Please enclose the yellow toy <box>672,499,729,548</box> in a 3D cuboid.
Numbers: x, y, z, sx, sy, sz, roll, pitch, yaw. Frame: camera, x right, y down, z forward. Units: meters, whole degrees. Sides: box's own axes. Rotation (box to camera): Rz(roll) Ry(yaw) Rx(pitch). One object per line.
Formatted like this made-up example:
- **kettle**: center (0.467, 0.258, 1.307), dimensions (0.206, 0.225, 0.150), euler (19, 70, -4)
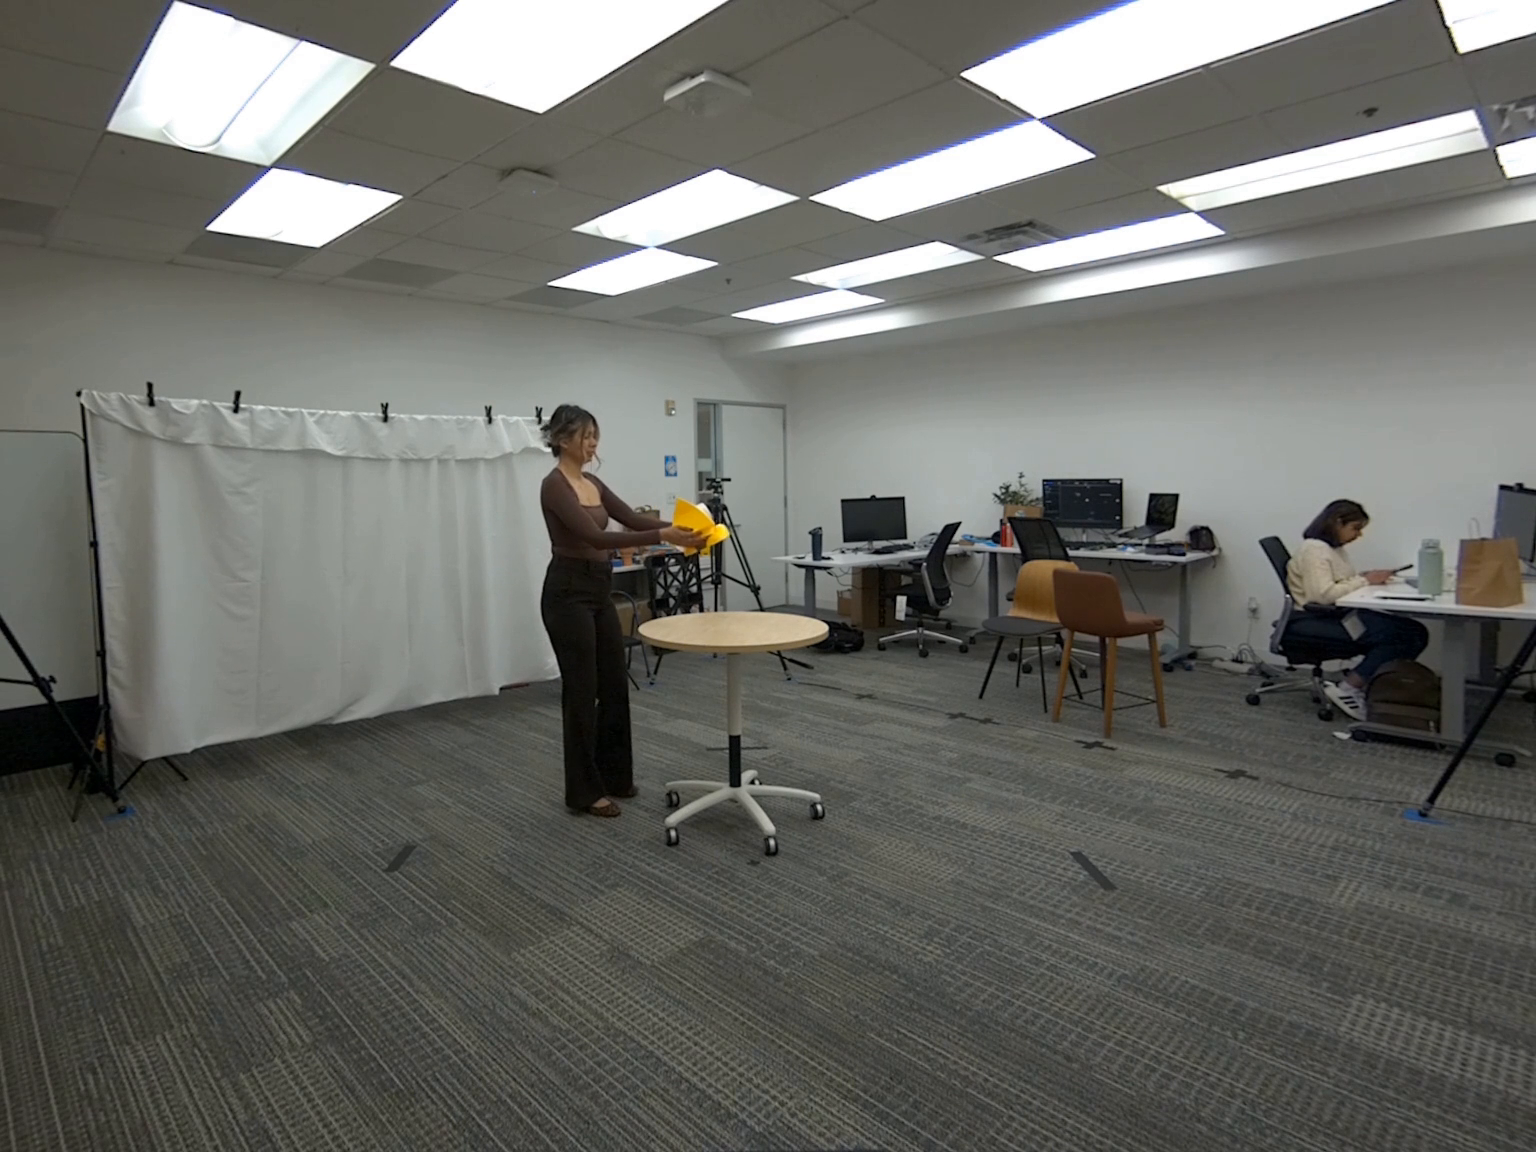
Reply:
- **yellow toy**: center (-0.296, -0.230, 3.477), dimensions (0.207, 0.229, 0.192), euler (-24, 7, 21)
